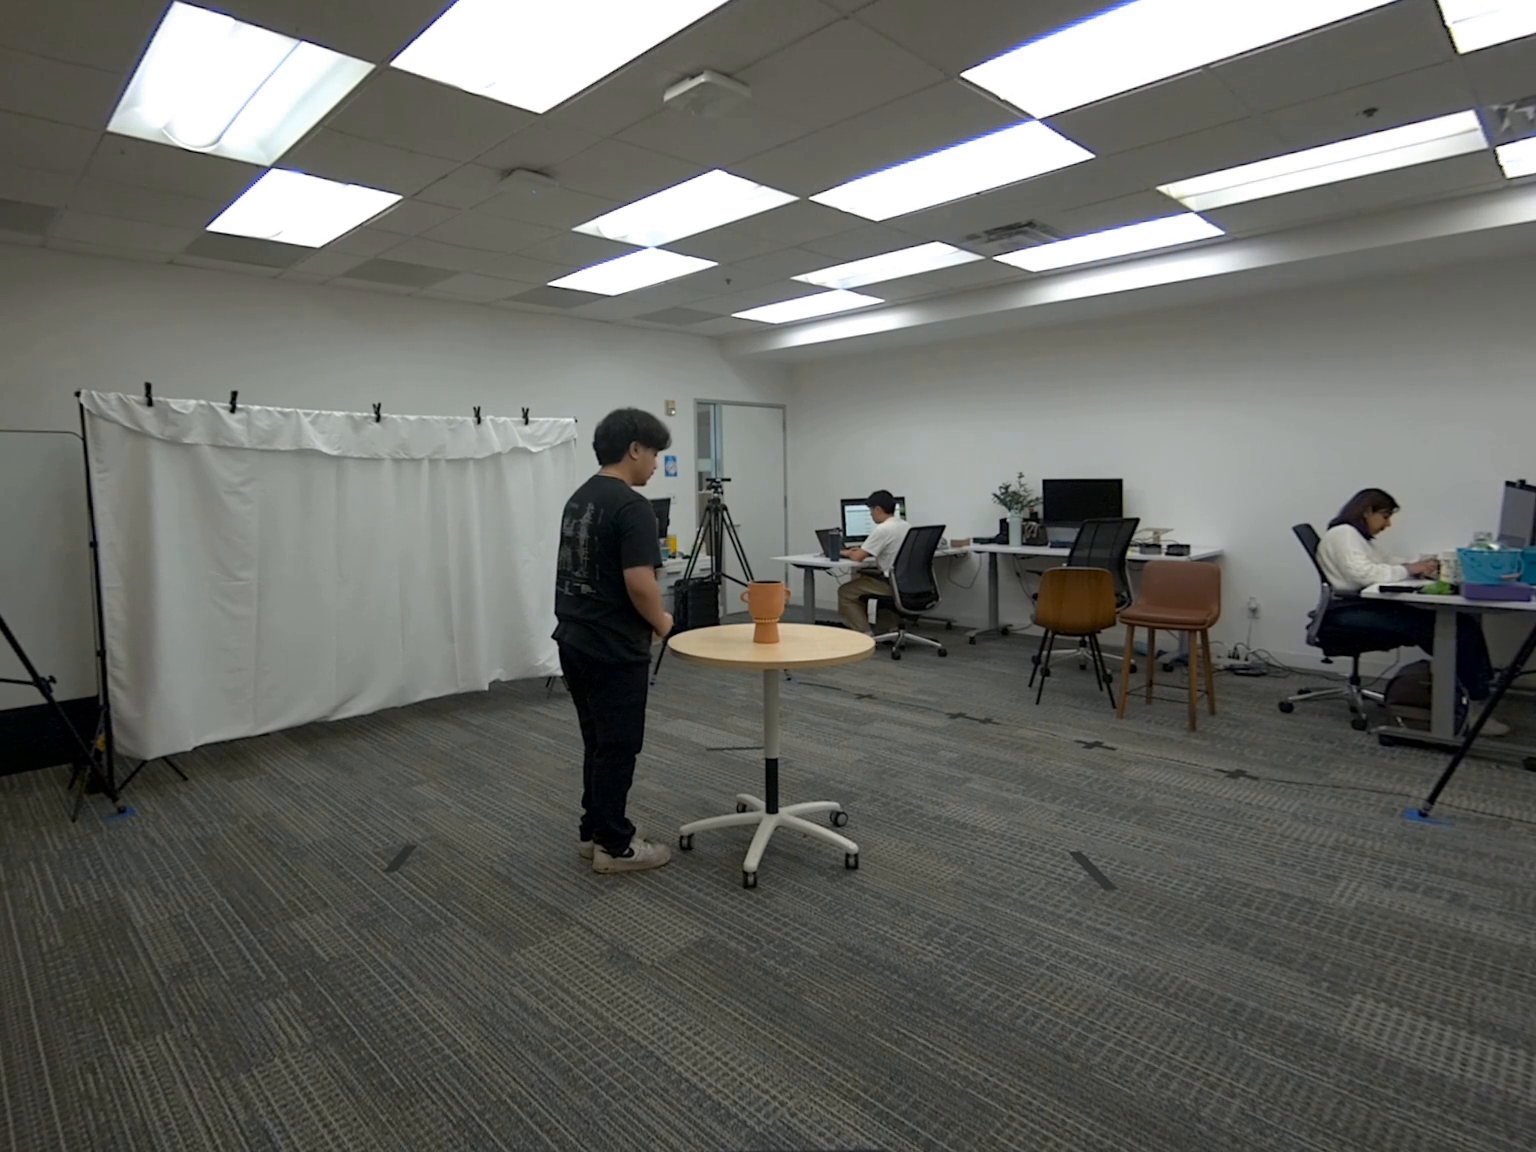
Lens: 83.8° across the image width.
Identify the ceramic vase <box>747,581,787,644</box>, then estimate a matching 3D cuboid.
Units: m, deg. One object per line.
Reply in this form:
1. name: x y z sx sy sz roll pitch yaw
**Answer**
1. ceramic vase: -0.006 0.128 3.157 0.162 0.219 0.132 1 4 21
